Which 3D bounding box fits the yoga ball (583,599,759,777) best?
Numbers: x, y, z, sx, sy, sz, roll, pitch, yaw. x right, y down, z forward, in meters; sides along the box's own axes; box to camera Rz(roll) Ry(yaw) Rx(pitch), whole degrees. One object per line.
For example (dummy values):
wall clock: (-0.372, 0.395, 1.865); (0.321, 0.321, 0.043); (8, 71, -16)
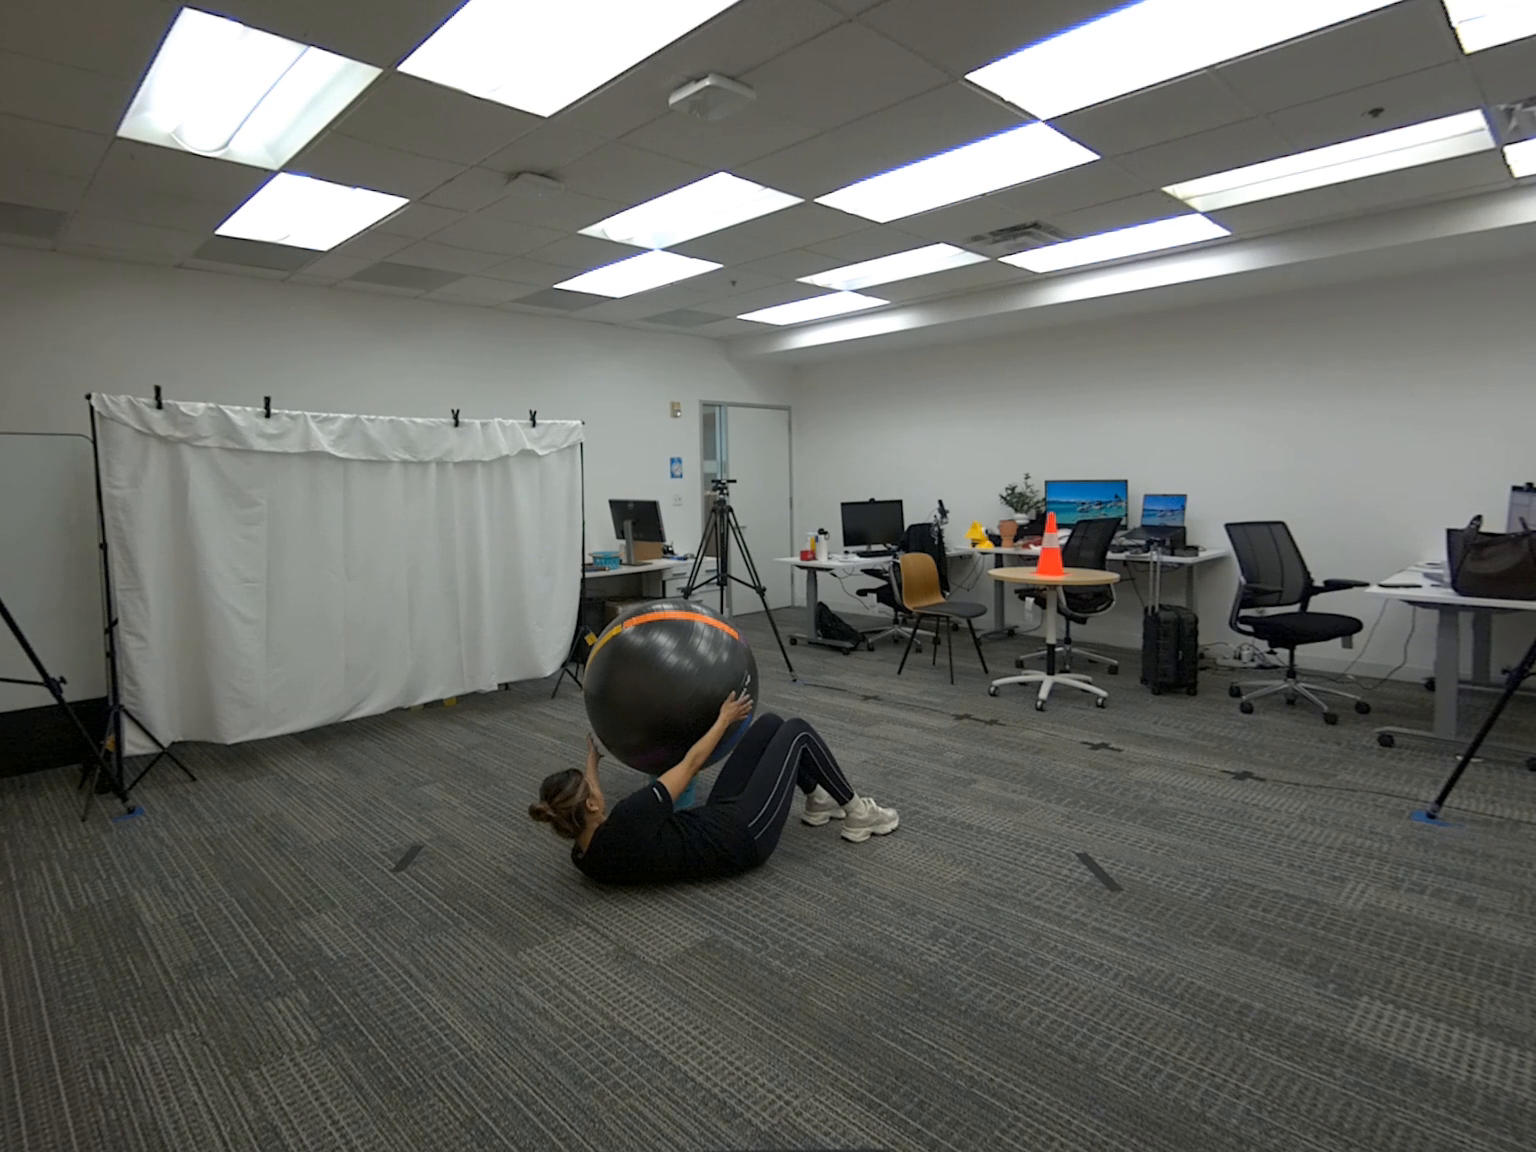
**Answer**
yoga ball: (-0.426, 0.481, 3.703); (0.757, 0.757, 0.759); (0, 1, -2)
